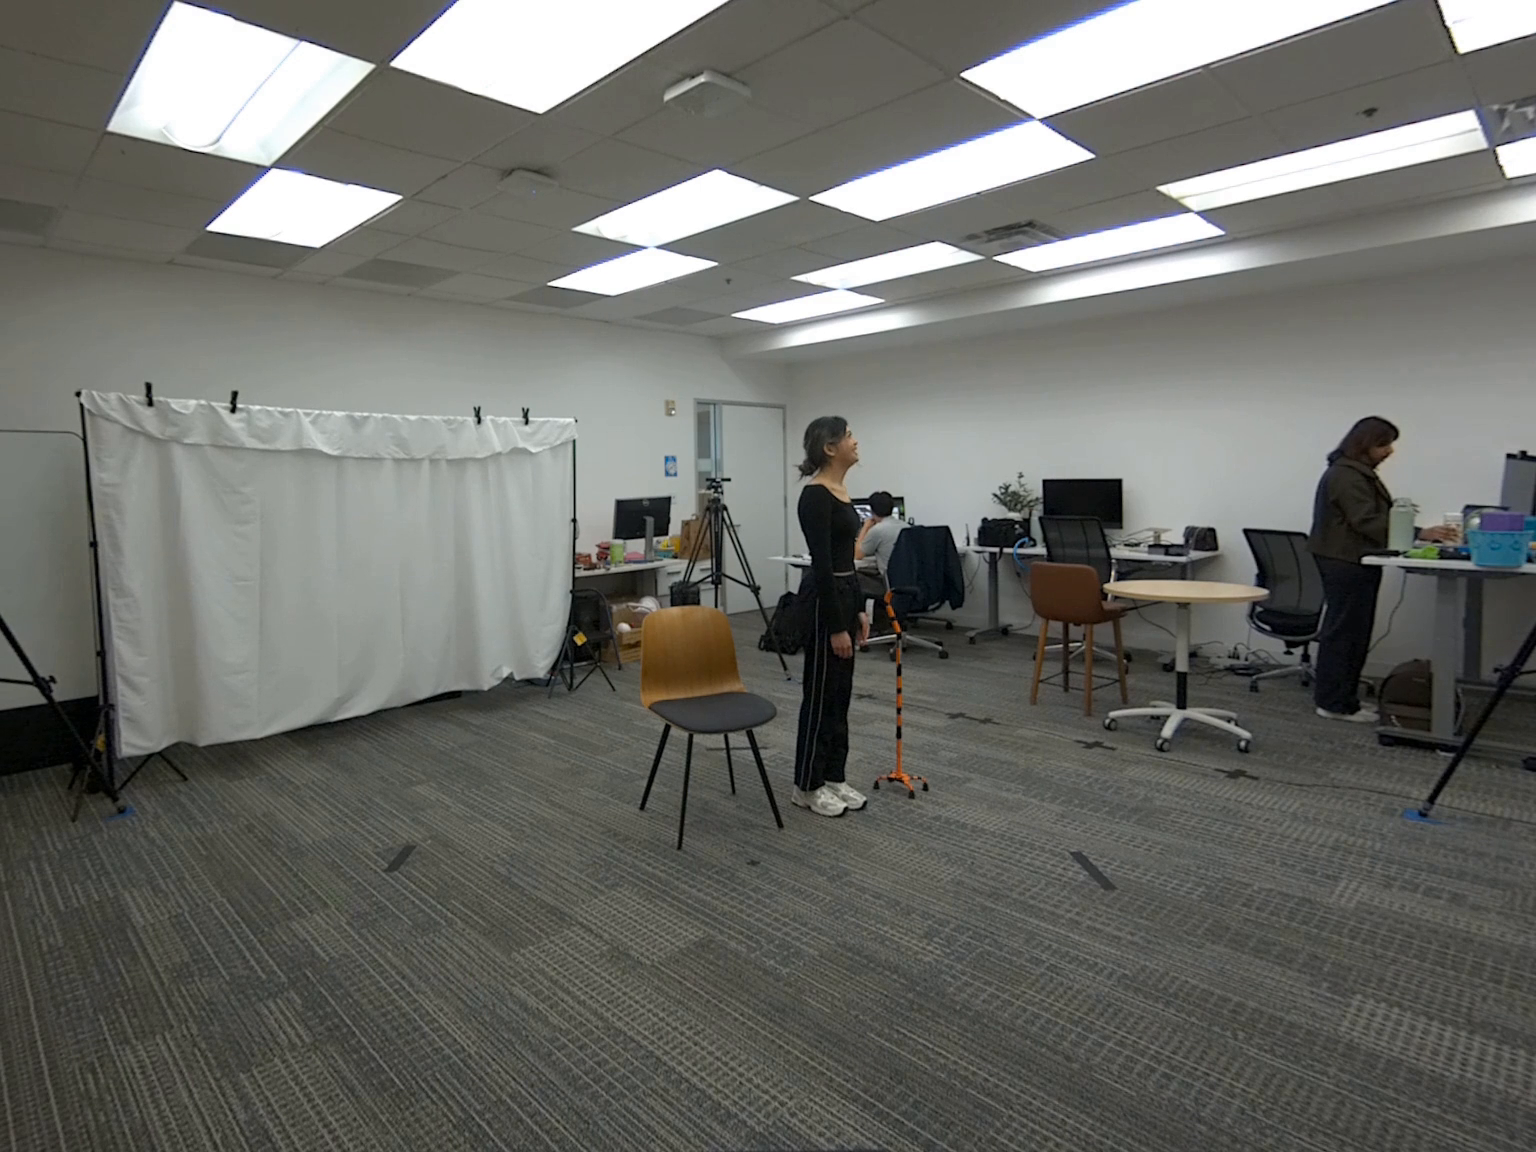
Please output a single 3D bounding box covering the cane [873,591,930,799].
[{"bbox_3d":[0.583,0.500,3.777,0.213,0.904,0.147,2,5,41],"label":"cane"}]
